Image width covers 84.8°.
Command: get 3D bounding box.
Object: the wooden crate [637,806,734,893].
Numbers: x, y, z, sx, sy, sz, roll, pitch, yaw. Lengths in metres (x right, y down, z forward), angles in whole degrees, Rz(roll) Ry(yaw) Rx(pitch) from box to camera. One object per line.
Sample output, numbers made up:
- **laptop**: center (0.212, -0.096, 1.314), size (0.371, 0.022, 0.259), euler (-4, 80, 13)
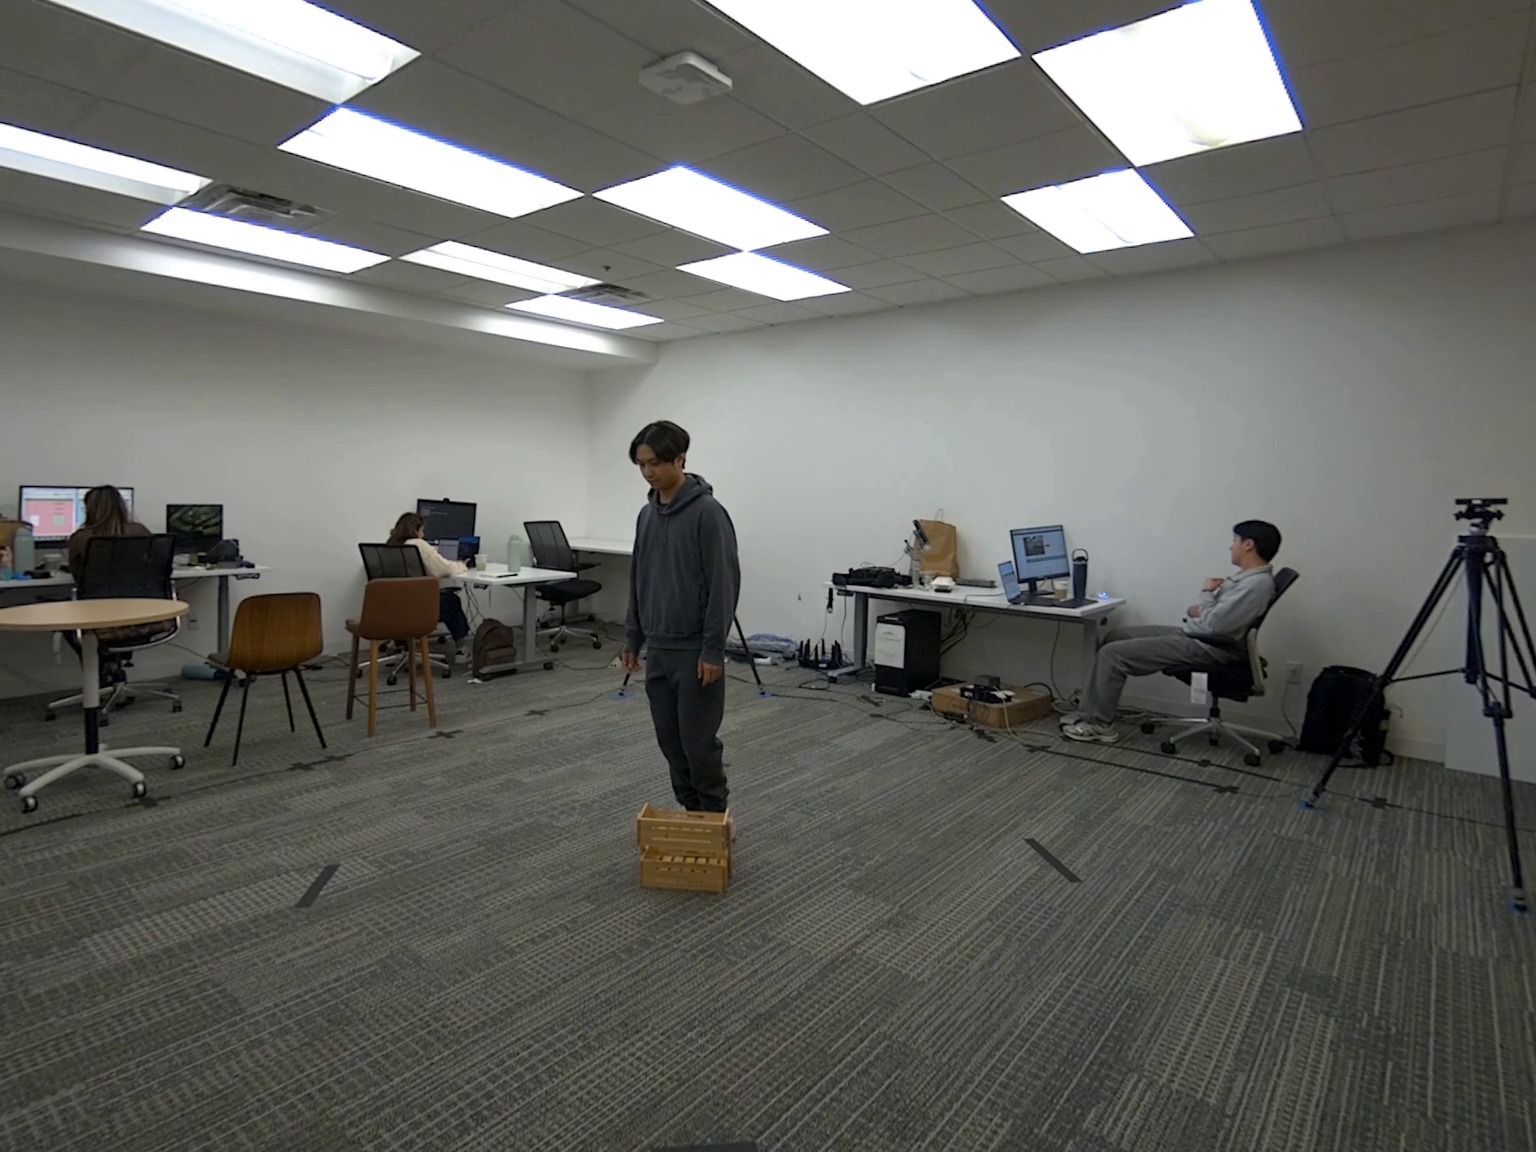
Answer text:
- **wooden crate**: center (-0.306, 0.944, 3.044), size (0.326, 0.272, 0.302), euler (1, 4, 4)
